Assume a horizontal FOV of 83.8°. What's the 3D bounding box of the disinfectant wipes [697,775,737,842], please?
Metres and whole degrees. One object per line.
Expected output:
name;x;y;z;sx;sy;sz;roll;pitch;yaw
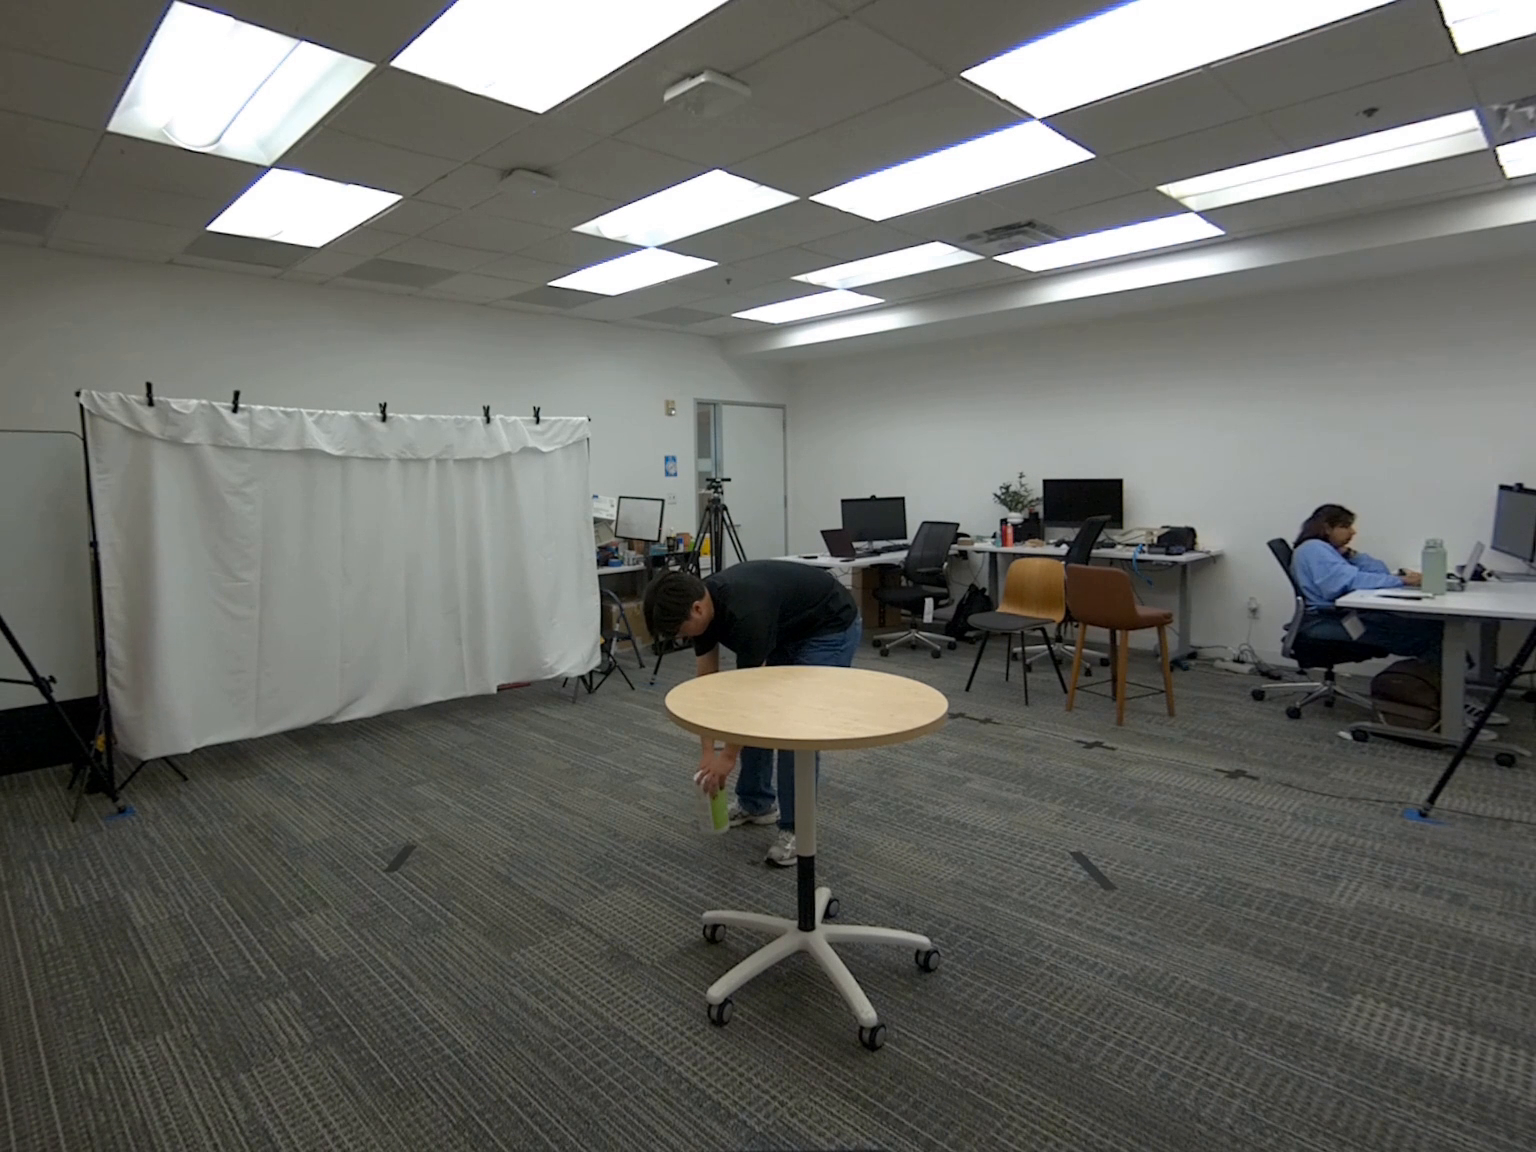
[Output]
disinfectant wipes;-0.189;0.834;3.131;0.118;0.216;0.119;-5;7;-1
